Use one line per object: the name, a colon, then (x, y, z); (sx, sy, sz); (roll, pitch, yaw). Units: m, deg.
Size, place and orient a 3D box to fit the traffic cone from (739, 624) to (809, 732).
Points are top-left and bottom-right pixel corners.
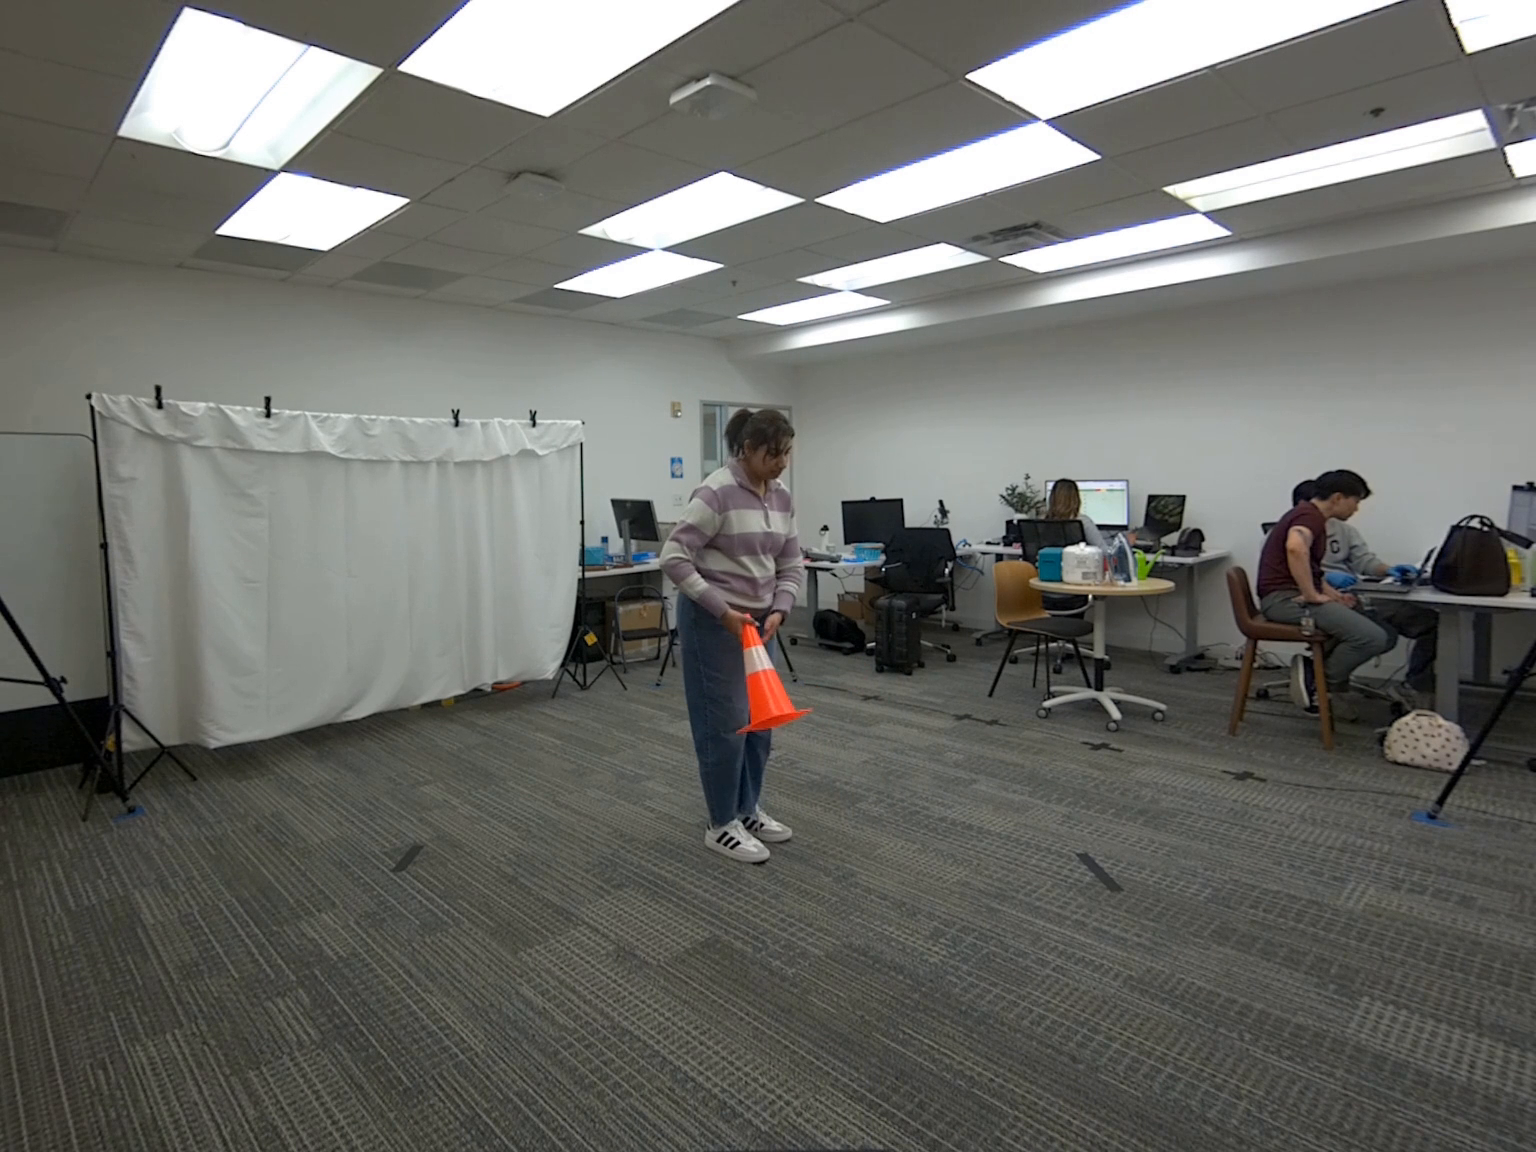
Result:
traffic cone: (-0.021, 0.317, 2.919); (0.206, 0.392, 0.198); (-27, -24, 30)
